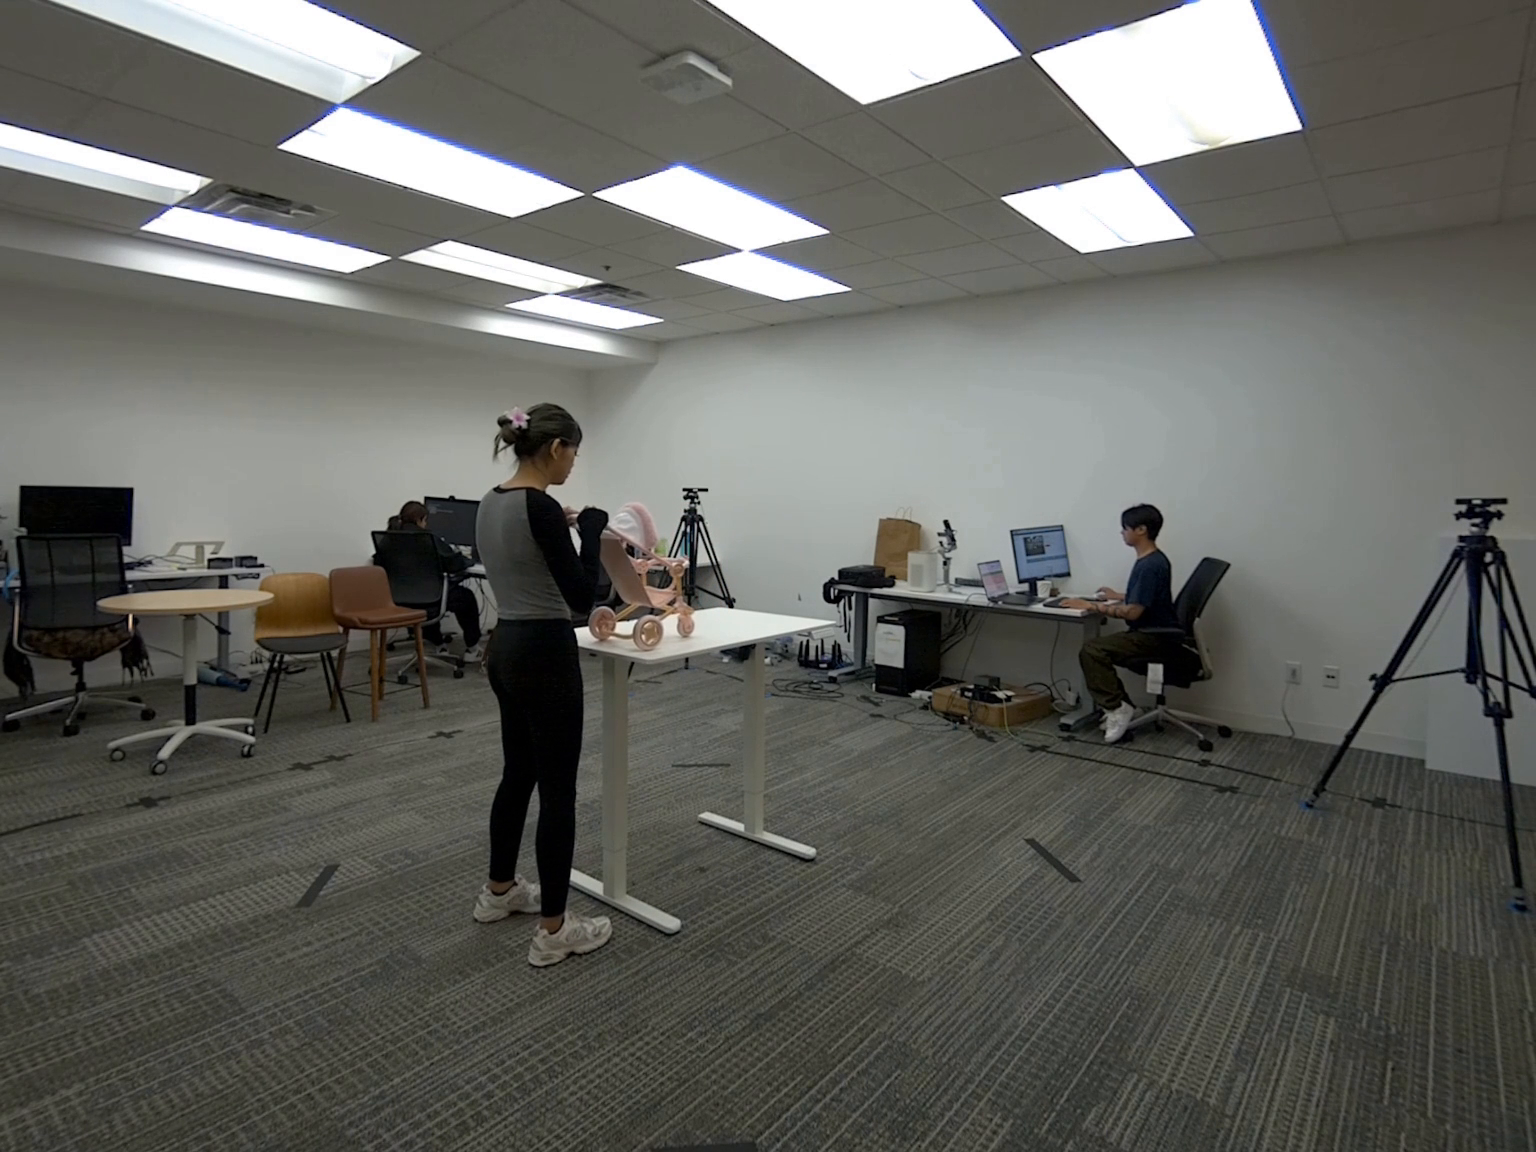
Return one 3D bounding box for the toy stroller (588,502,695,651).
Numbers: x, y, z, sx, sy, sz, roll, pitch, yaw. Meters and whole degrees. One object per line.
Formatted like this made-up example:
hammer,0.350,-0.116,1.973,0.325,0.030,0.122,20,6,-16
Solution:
toy stroller,-0.428,-0.005,2.770,0.335,0.527,0.291,-23,16,-36
